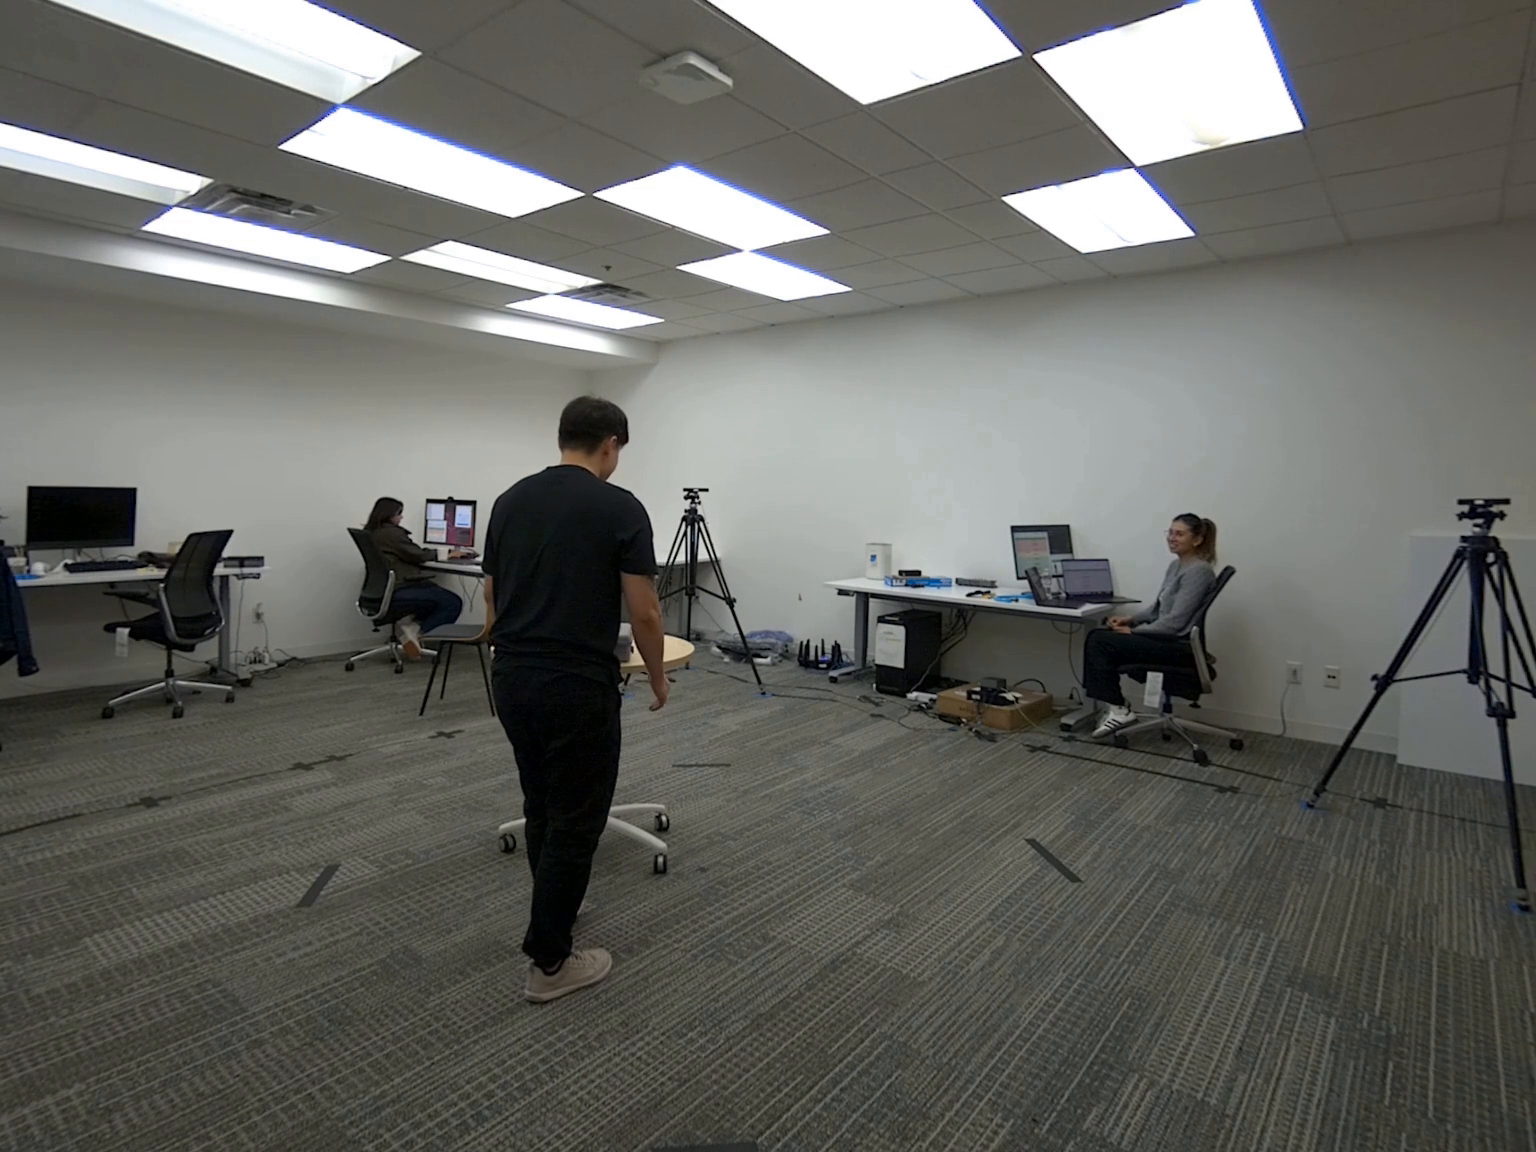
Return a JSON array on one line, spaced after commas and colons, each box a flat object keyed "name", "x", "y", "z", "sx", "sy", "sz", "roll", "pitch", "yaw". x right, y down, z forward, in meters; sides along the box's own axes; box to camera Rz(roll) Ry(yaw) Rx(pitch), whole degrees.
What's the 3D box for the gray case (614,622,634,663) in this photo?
[{"name": "gray case", "x": -0.617, "y": 0.222, "z": 3.055, "sx": 0.255, "sy": 0.104, "sz": 0.264, "roll": -1, "pitch": 6, "yaw": -7}]
